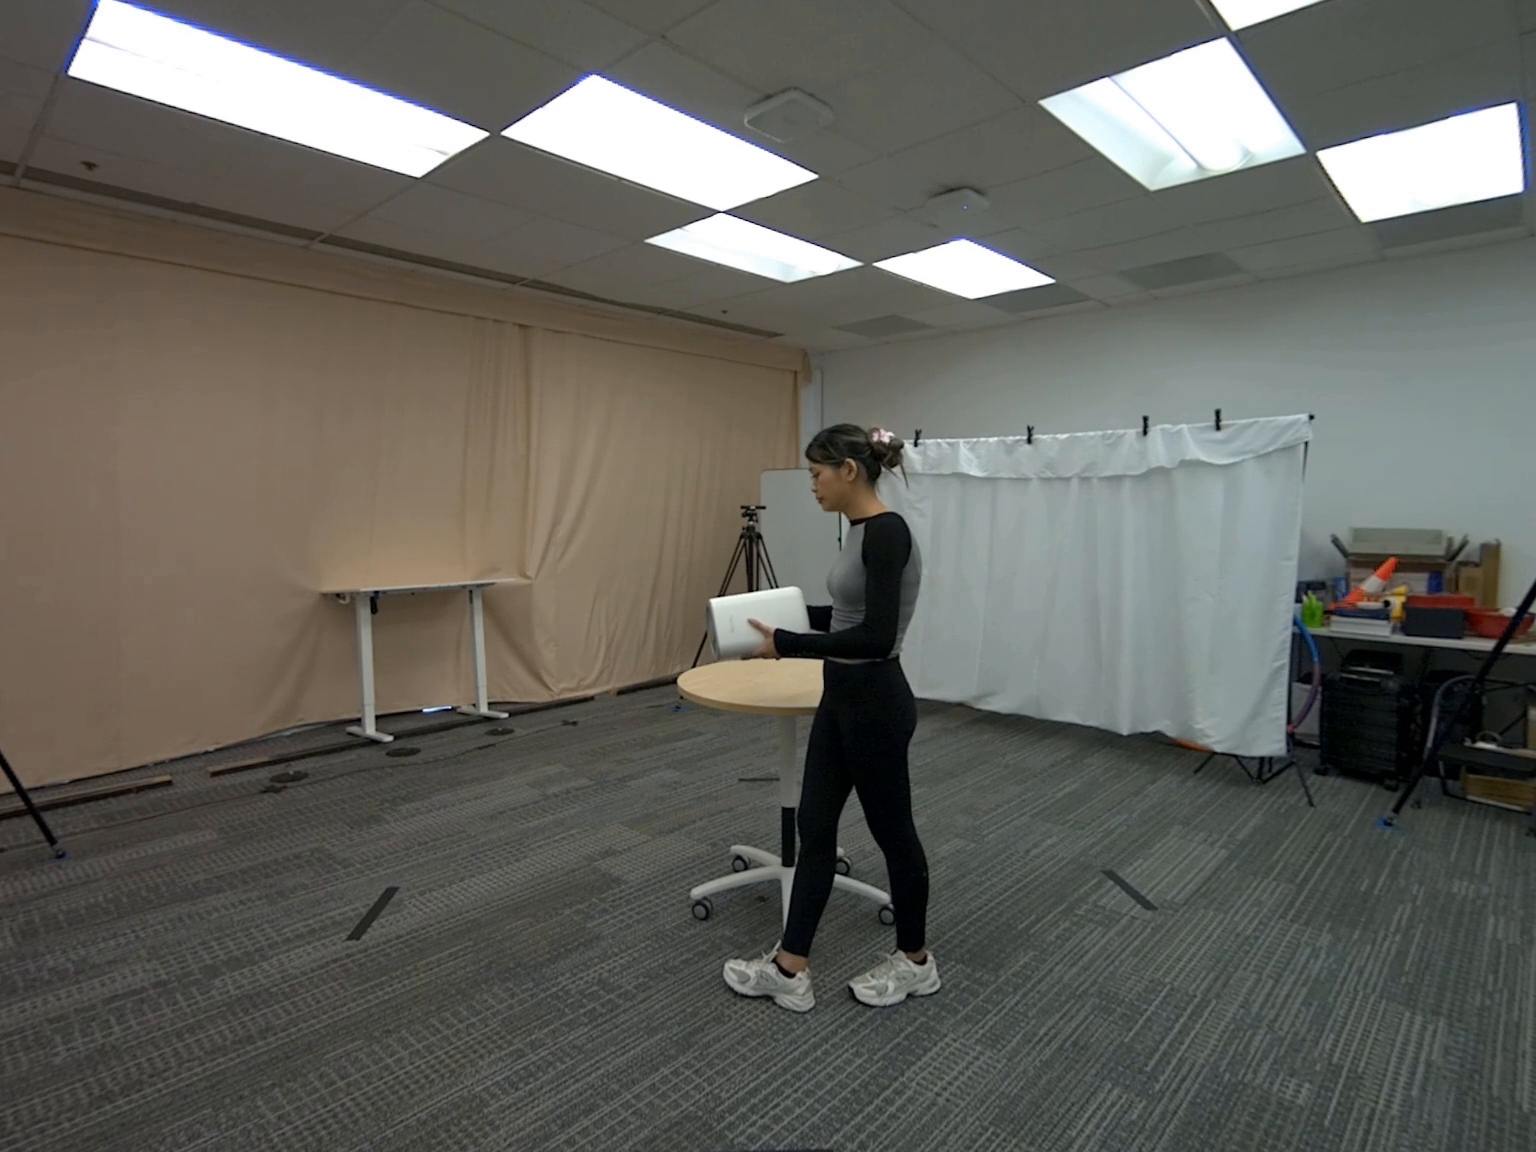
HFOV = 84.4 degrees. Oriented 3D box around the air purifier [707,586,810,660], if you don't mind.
[{"bbox_3d":[-0.028,0.134,2.358,0.263,0.173,0.171,-7,-12,-9],"label":"air purifier"}]
